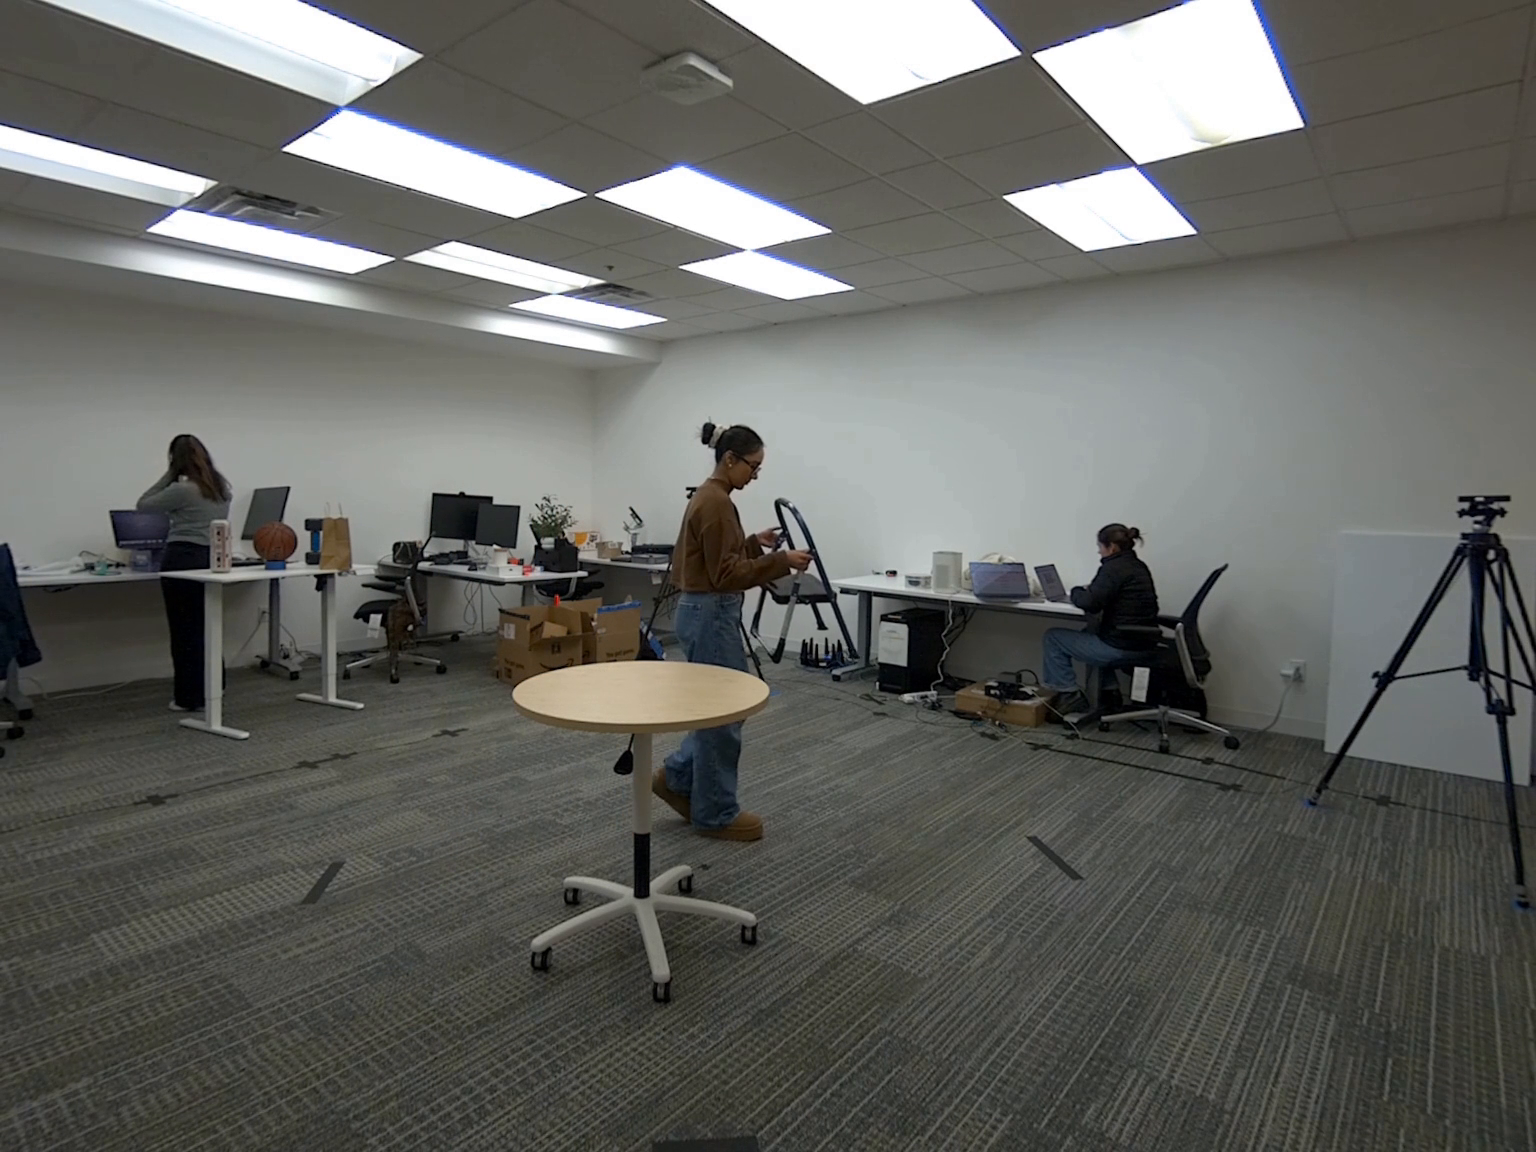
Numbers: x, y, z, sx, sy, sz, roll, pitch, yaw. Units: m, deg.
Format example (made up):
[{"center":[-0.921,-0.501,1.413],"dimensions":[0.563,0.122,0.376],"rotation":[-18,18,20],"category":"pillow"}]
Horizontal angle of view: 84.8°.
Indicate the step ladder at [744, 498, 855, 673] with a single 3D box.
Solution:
[{"center":[0.122,-0.007,3.434],"dimensions":[0.345,0.600,0.440],"rotation":[-2,11,-13],"category":"step ladder"}]
